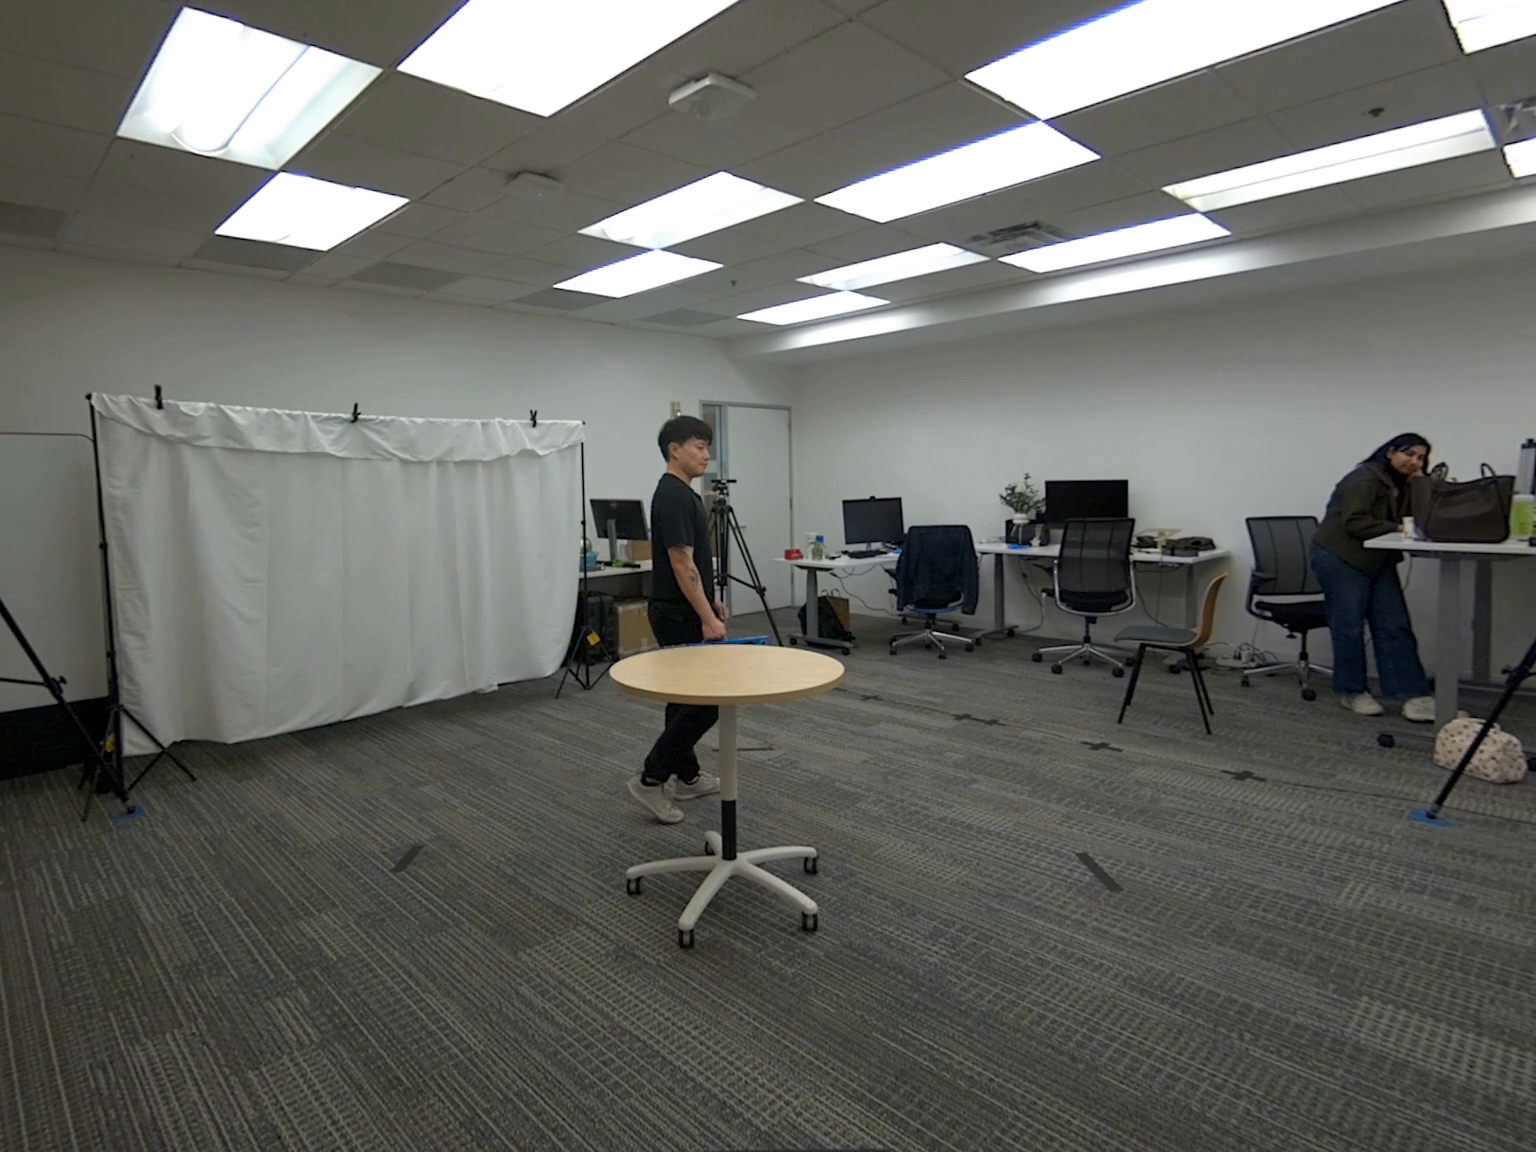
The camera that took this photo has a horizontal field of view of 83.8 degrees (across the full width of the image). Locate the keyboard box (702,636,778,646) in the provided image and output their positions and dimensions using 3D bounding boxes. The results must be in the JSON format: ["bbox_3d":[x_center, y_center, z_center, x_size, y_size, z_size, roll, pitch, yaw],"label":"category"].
[{"bbox_3d":[-0.207,0.344,3.426,0.435,0.176,0.059,-7,-2,-5],"label":"keyboard box"}]
